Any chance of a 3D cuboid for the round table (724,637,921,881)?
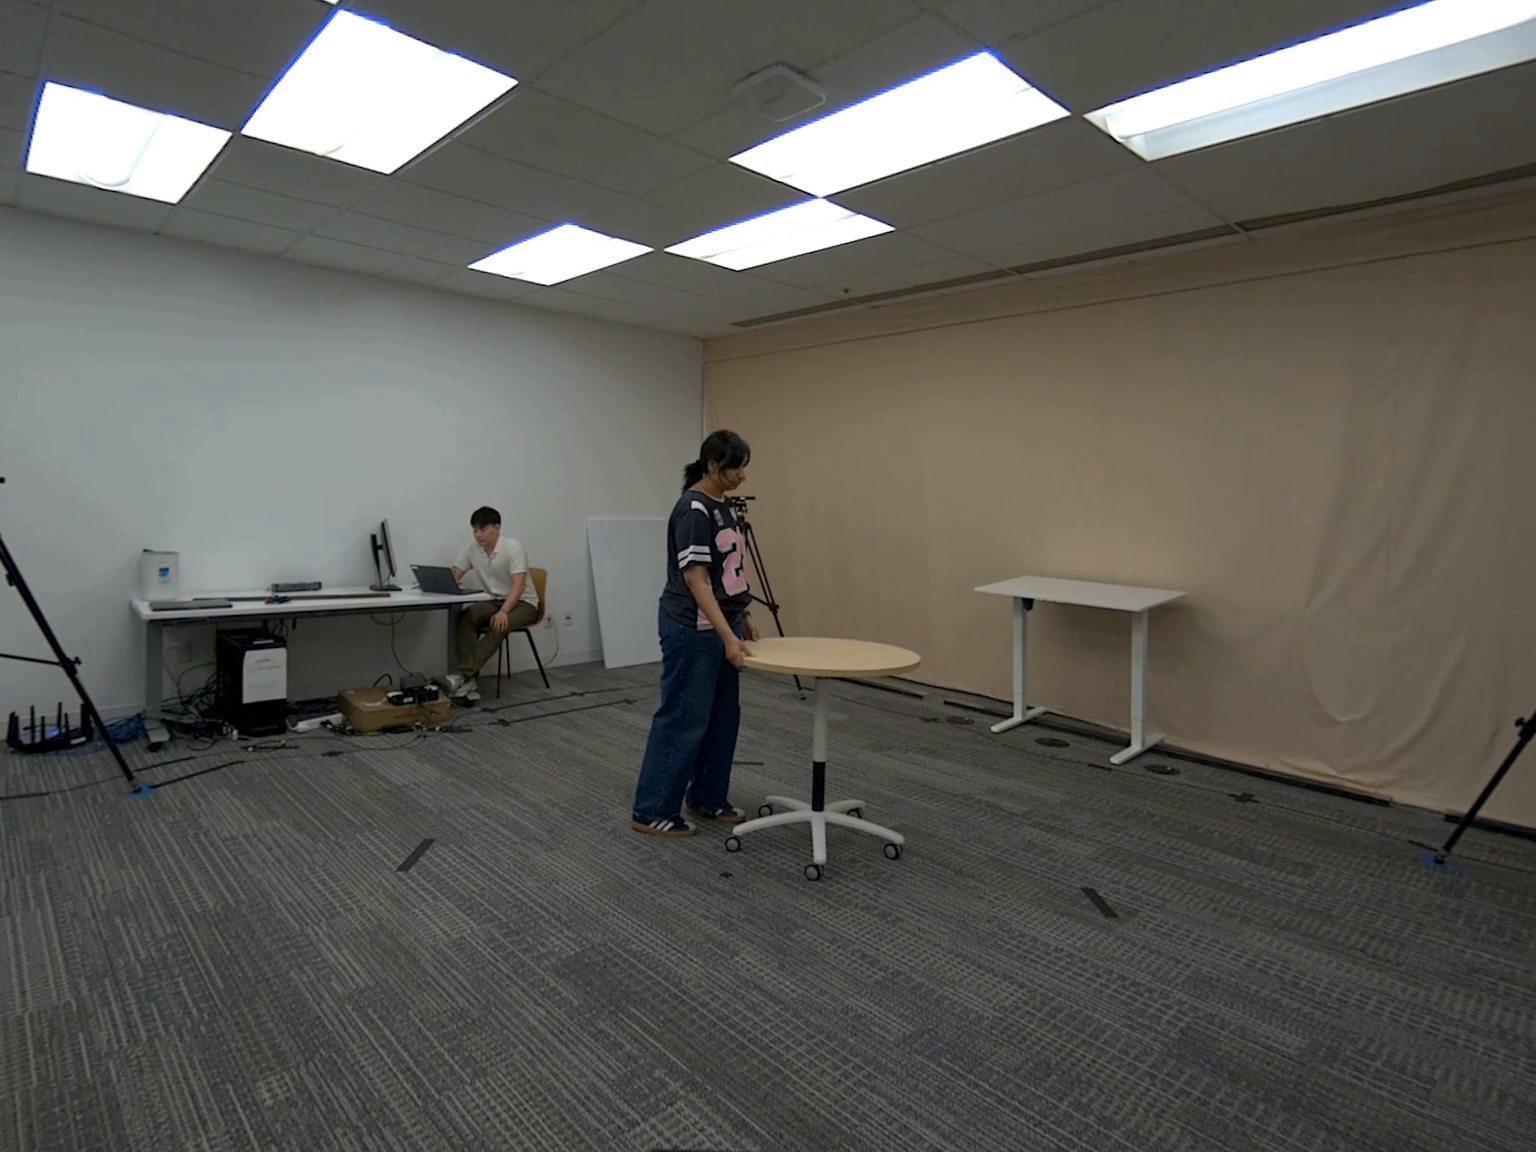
[{"bbox_3d":[0.203,0.699,3.386,0.763,0.792,0.766,1,3,-1],"label":"round table"}]
